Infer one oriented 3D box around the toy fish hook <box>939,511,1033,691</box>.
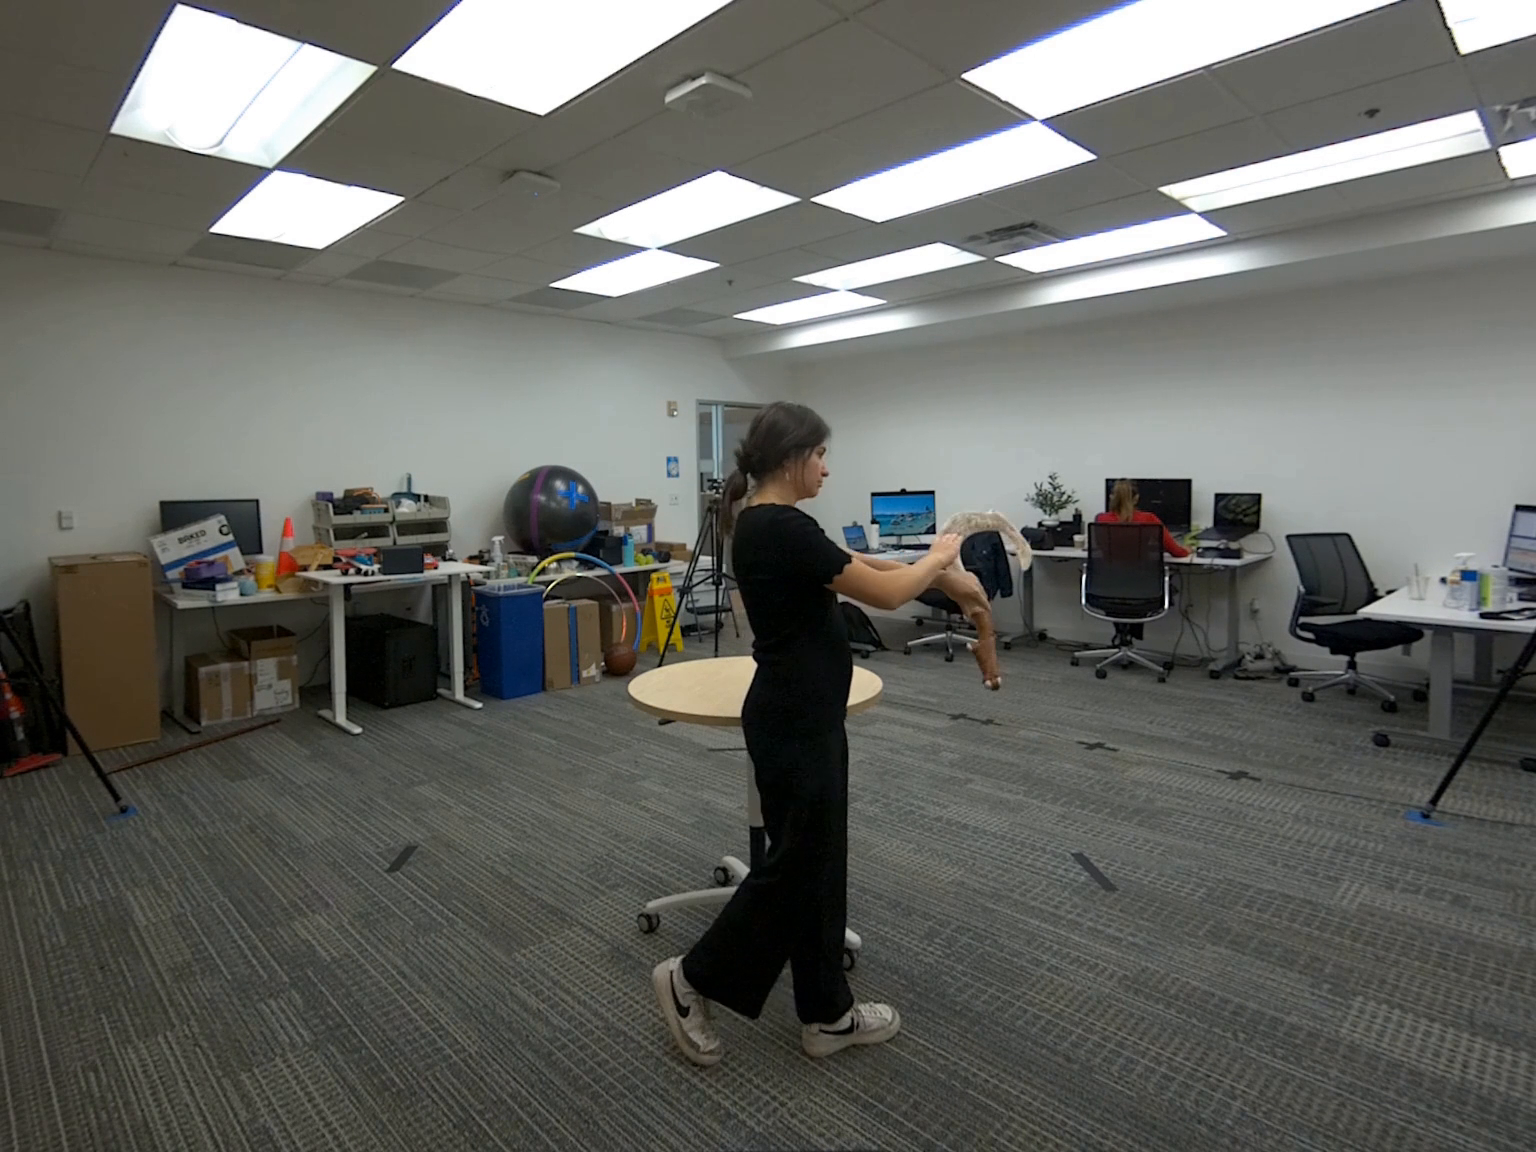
[{"bbox_3d":[0.565,0.048,2.116,0.226,0.519,0.047,-7,-34,9],"label":"toy fish hook"}]
